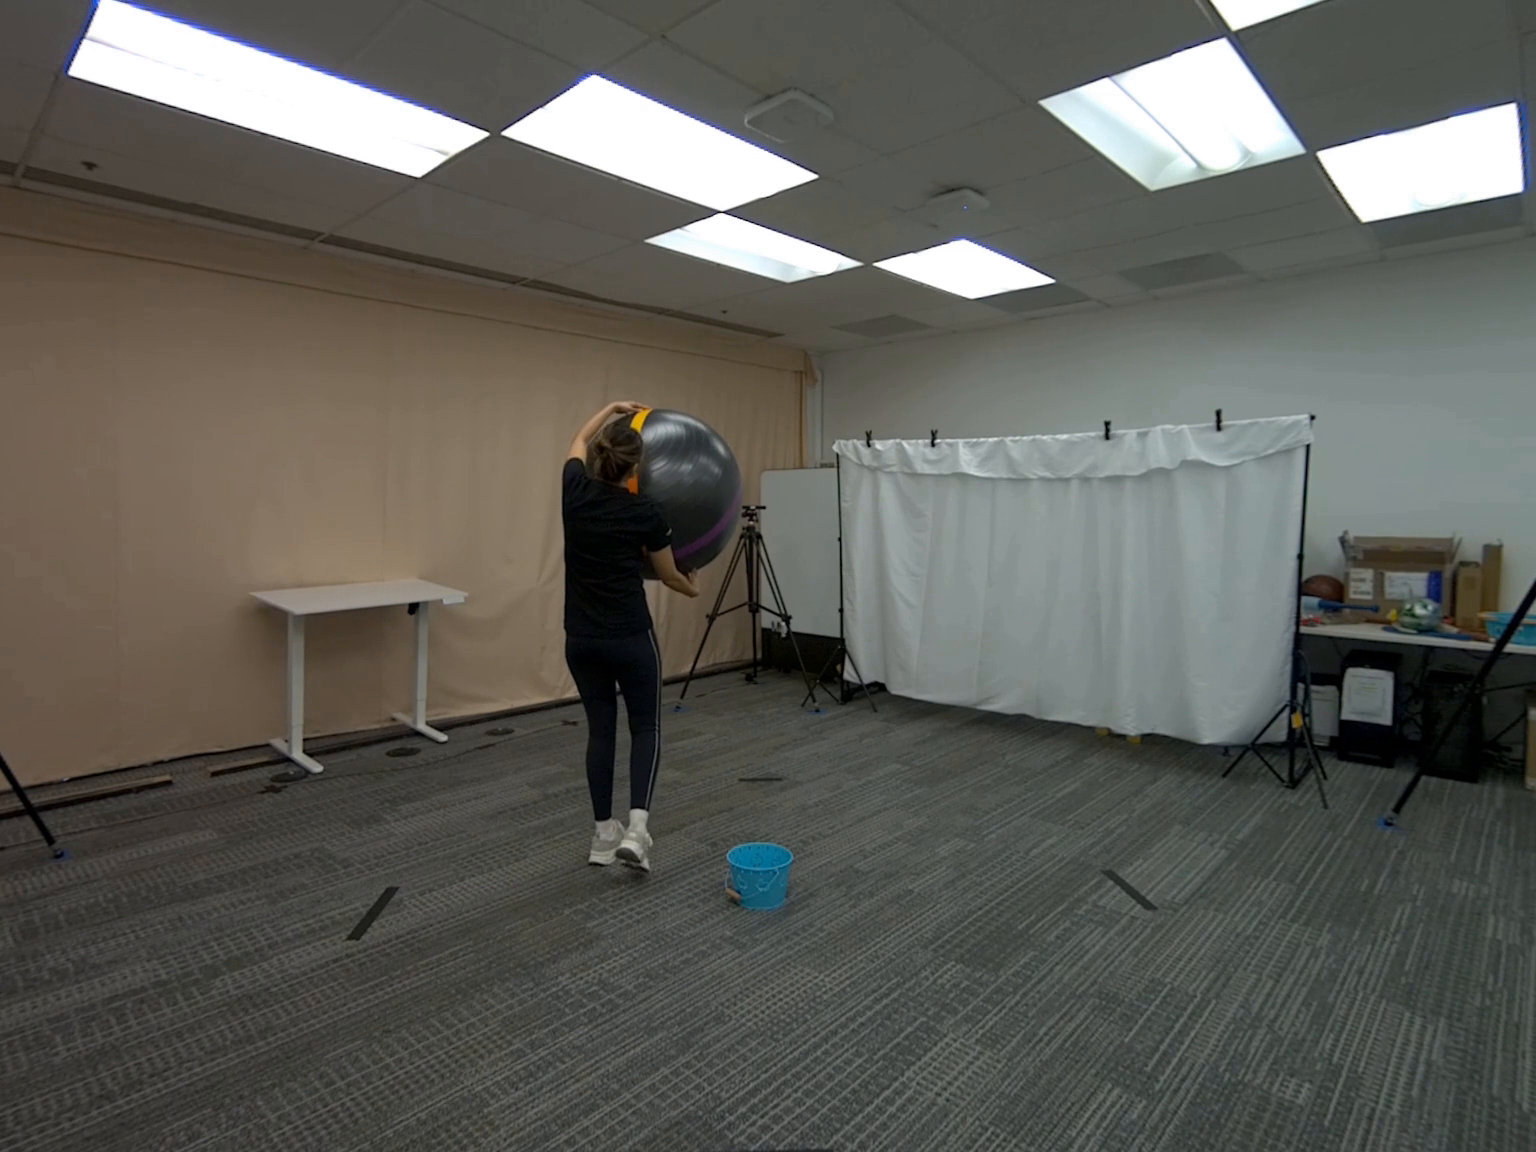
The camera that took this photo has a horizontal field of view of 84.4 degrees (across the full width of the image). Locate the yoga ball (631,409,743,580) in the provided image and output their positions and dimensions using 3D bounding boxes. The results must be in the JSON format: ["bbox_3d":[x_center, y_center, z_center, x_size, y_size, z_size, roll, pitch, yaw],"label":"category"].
[{"bbox_3d":[-0.499,-0.357,3.732,0.757,0.756,0.761,0,4,-2],"label":"yoga ball"}]
